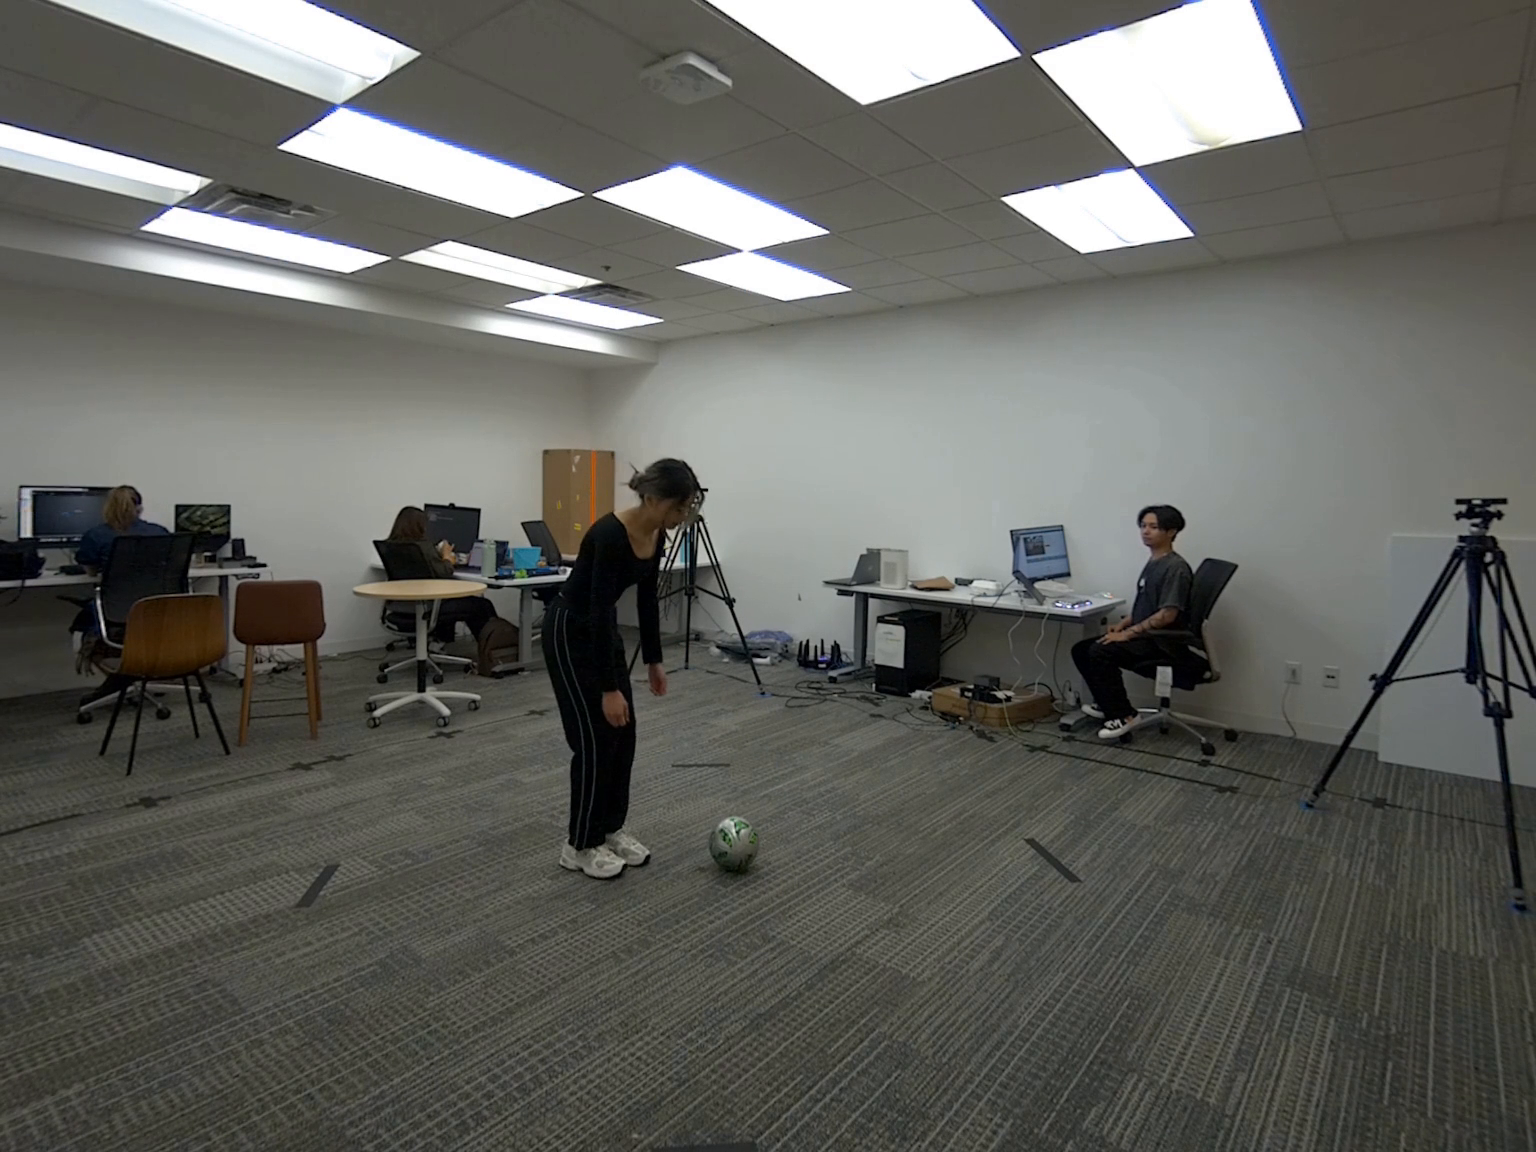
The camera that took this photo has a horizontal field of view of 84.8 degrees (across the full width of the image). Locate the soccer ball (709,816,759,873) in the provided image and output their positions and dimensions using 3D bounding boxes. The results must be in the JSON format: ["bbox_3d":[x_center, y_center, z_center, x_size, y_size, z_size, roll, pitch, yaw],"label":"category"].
[{"bbox_3d":[-0.131,0.982,3.120,0.187,0.187,0.188,1,4,-2],"label":"soccer ball"}]
